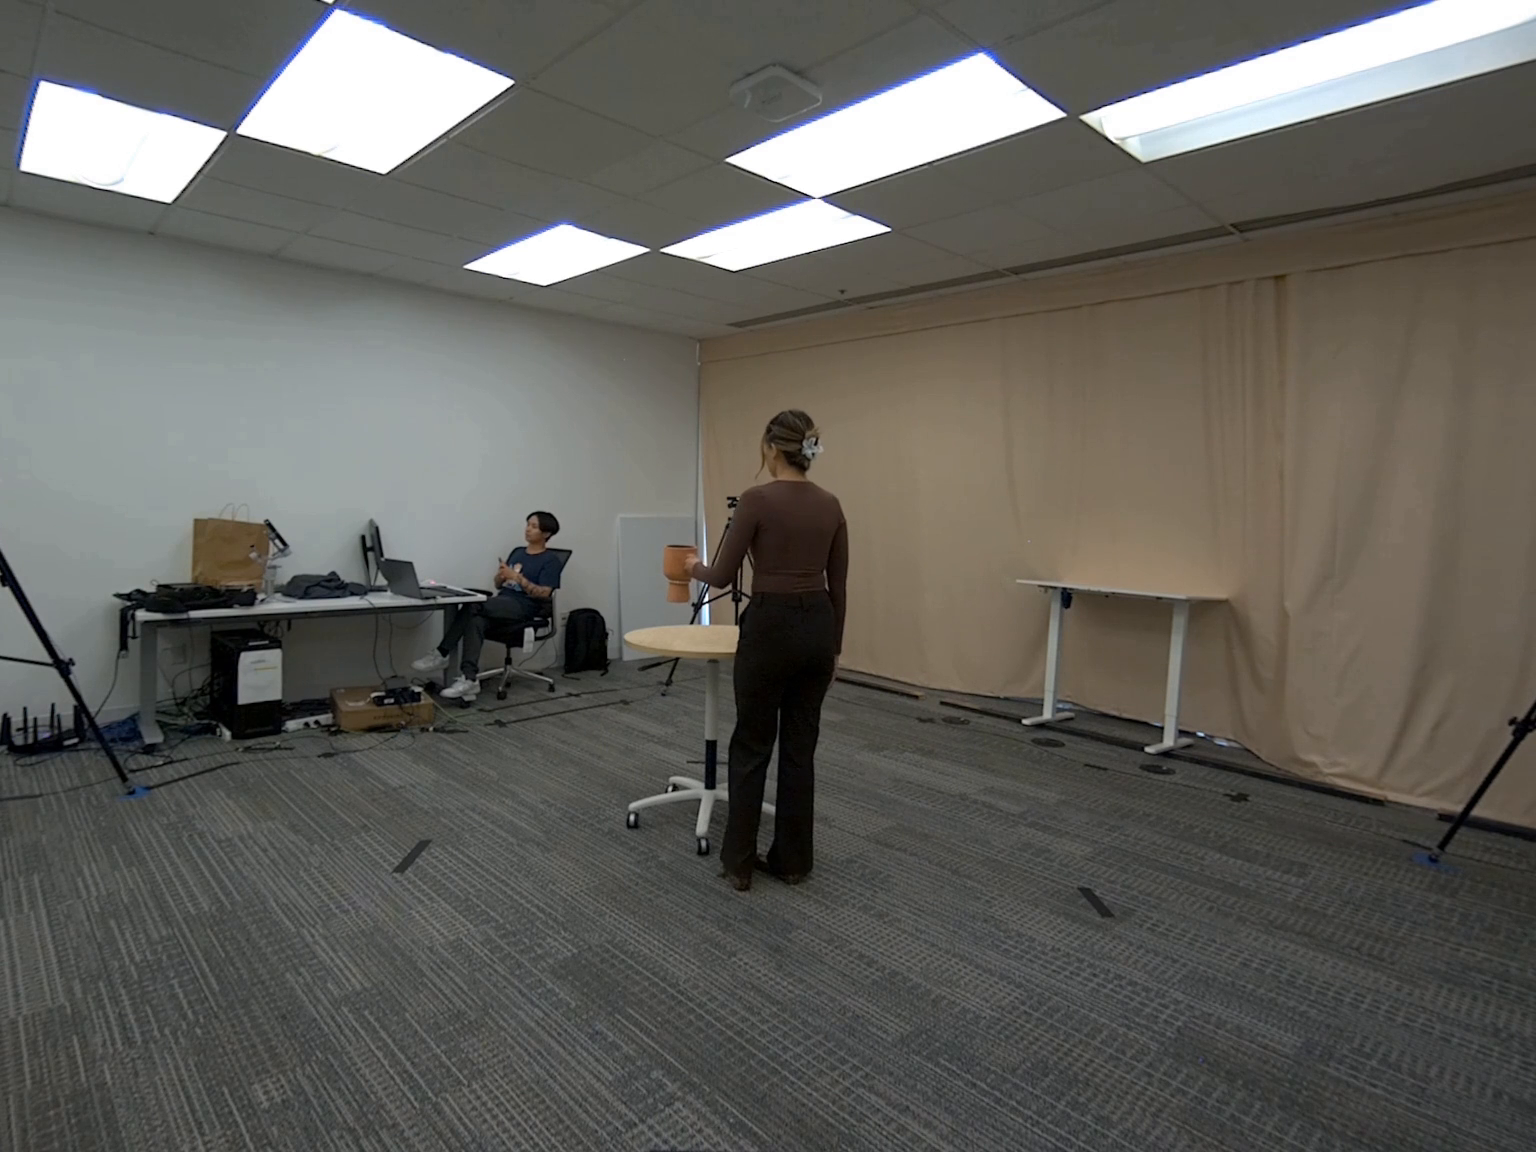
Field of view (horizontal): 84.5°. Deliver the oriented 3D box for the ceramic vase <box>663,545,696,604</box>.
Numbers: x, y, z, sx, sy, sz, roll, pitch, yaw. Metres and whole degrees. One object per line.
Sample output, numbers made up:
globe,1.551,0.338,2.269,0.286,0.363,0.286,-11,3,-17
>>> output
ceramic vase,-0.363,-0.007,3.369,0.135,0.219,0.159,3,6,1
